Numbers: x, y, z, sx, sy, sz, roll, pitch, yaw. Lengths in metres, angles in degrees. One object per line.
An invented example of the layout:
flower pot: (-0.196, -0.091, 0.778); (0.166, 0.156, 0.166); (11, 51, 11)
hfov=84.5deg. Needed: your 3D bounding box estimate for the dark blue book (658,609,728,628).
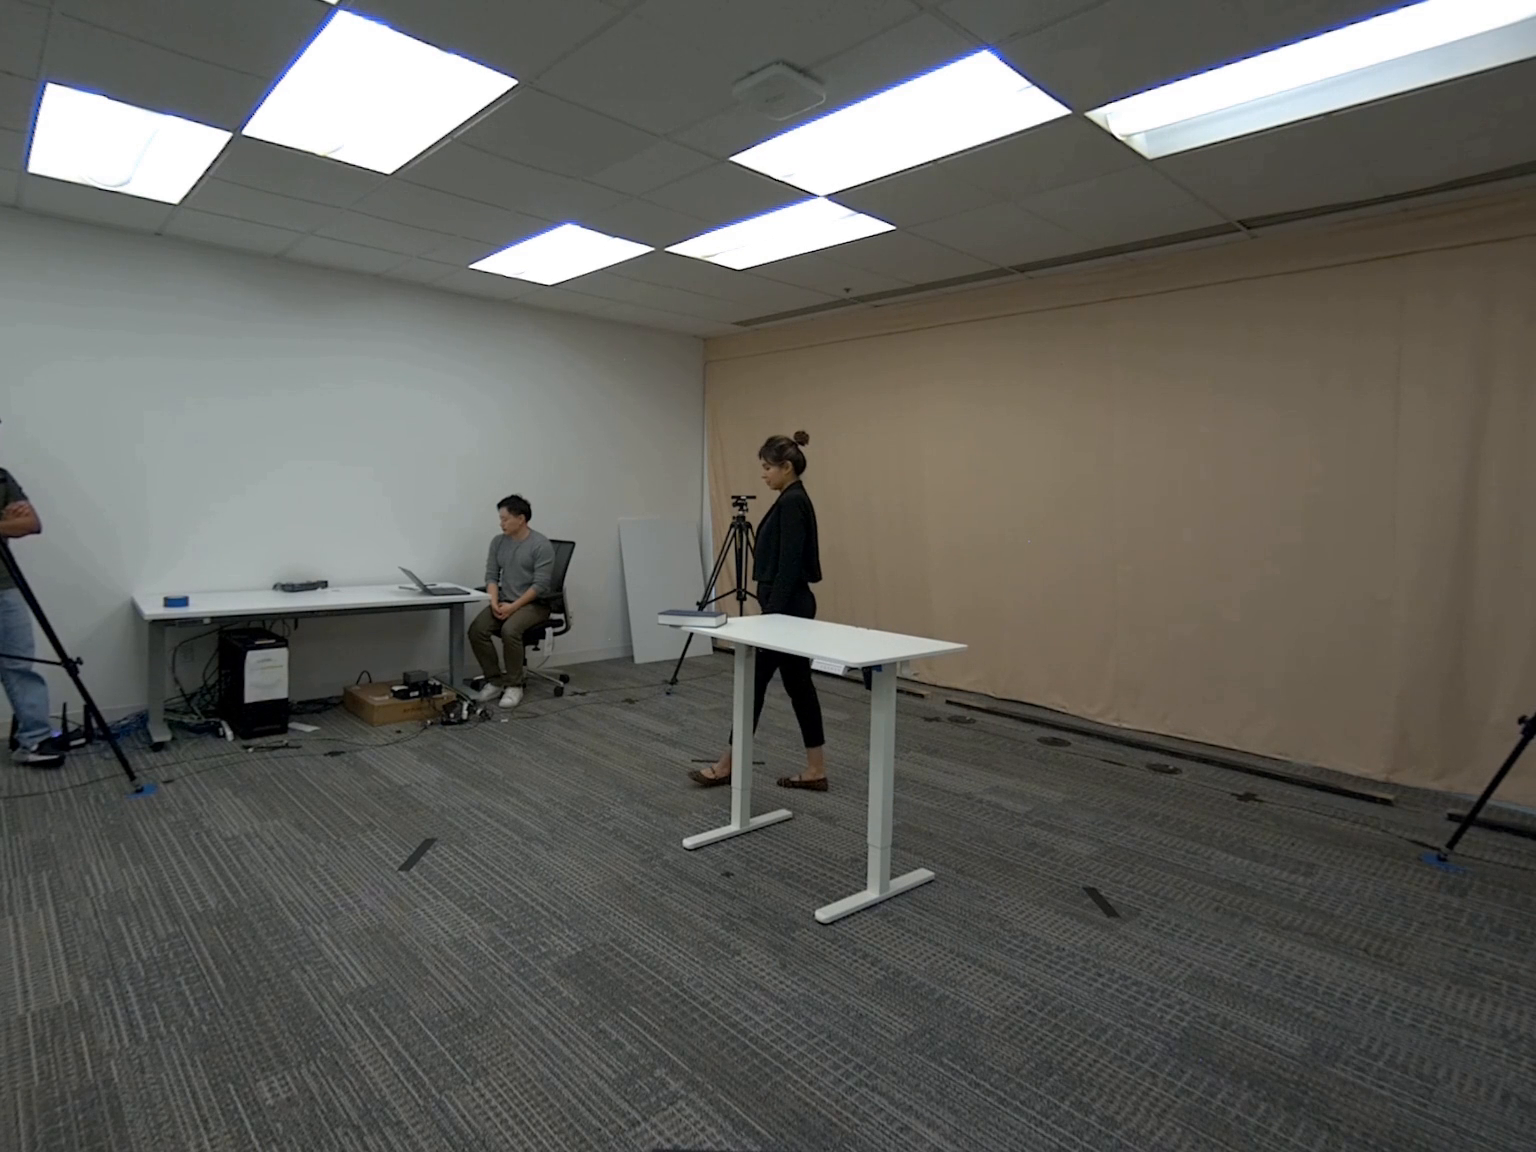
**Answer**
dark blue book: (-0.303, 0.167, 3.369); (0.248, 0.045, 0.162); (3, 4, 14)
